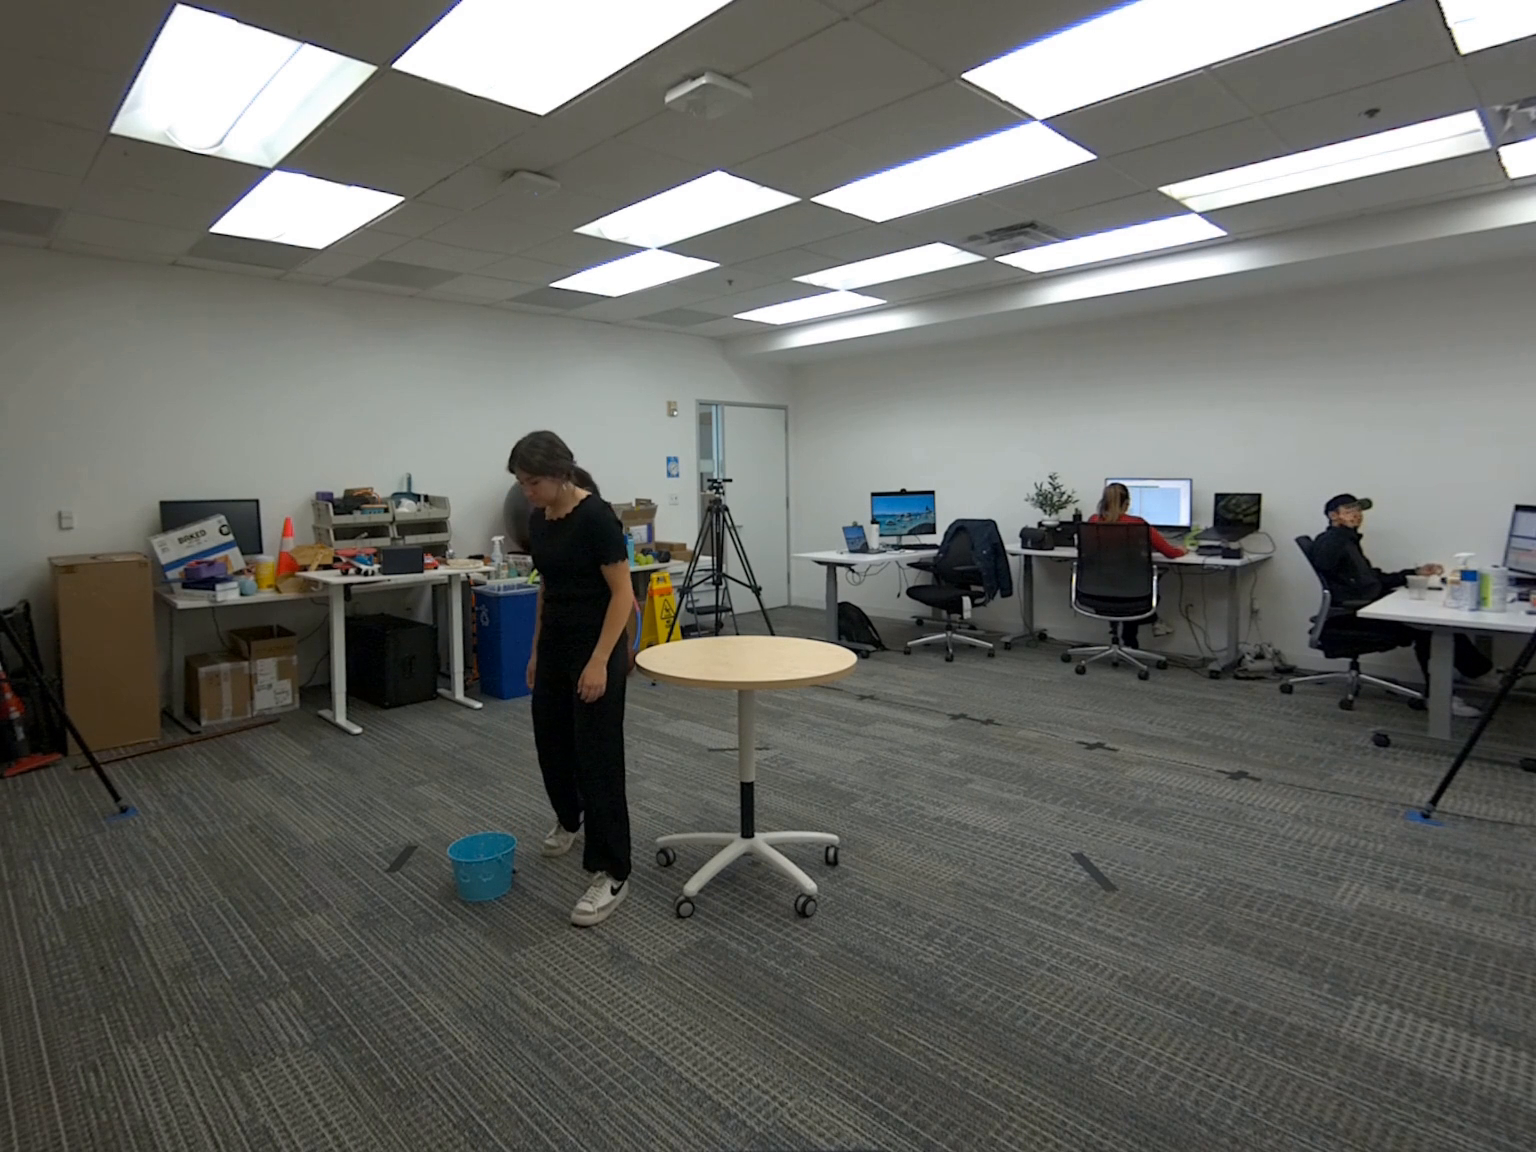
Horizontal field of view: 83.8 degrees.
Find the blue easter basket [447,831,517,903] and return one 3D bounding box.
[{"bbox_3d":[-0.975,1.003,2.947,0.243,0.155,0.245,-2,6,-2],"label":"blue easter basket"}]
